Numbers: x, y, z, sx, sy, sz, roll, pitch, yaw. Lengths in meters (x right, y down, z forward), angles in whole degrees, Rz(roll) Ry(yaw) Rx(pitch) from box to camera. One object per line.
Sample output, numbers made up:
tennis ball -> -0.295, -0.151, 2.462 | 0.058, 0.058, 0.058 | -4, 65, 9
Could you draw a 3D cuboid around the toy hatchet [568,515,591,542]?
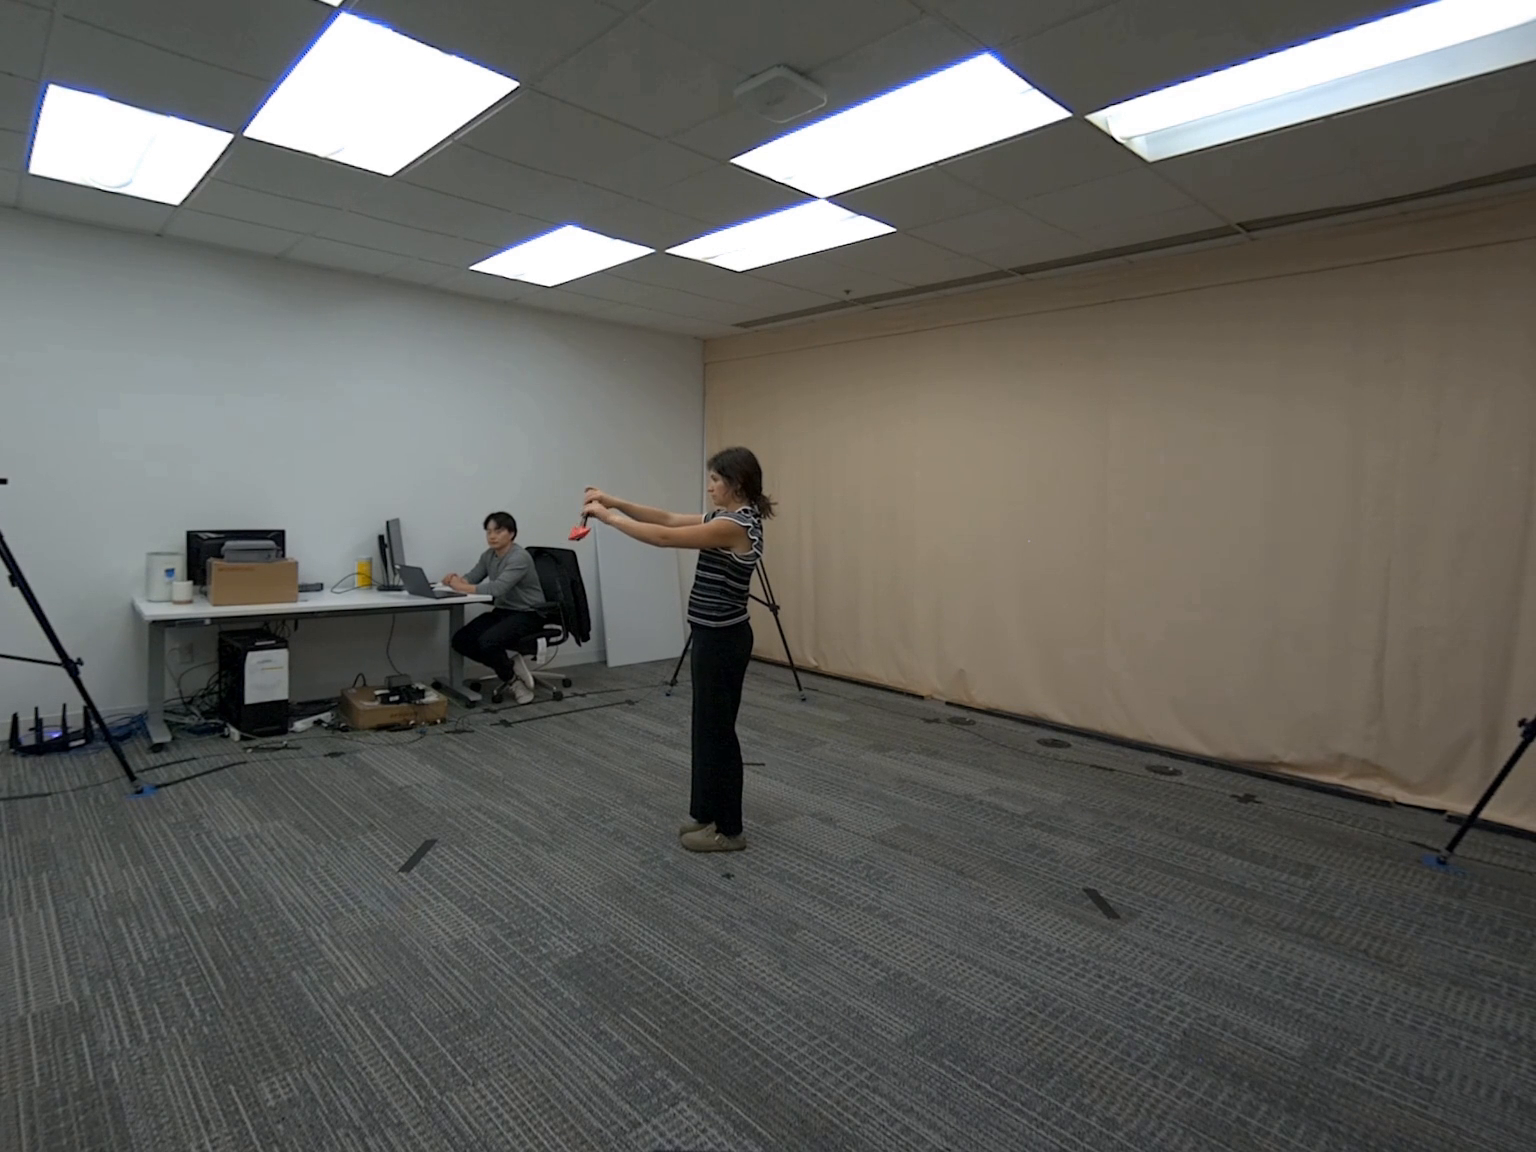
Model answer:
toy hatchet -> -0.751, -0.232, 3.334 | 0.131, 0.277, 0.029 | -38, -53, 24
